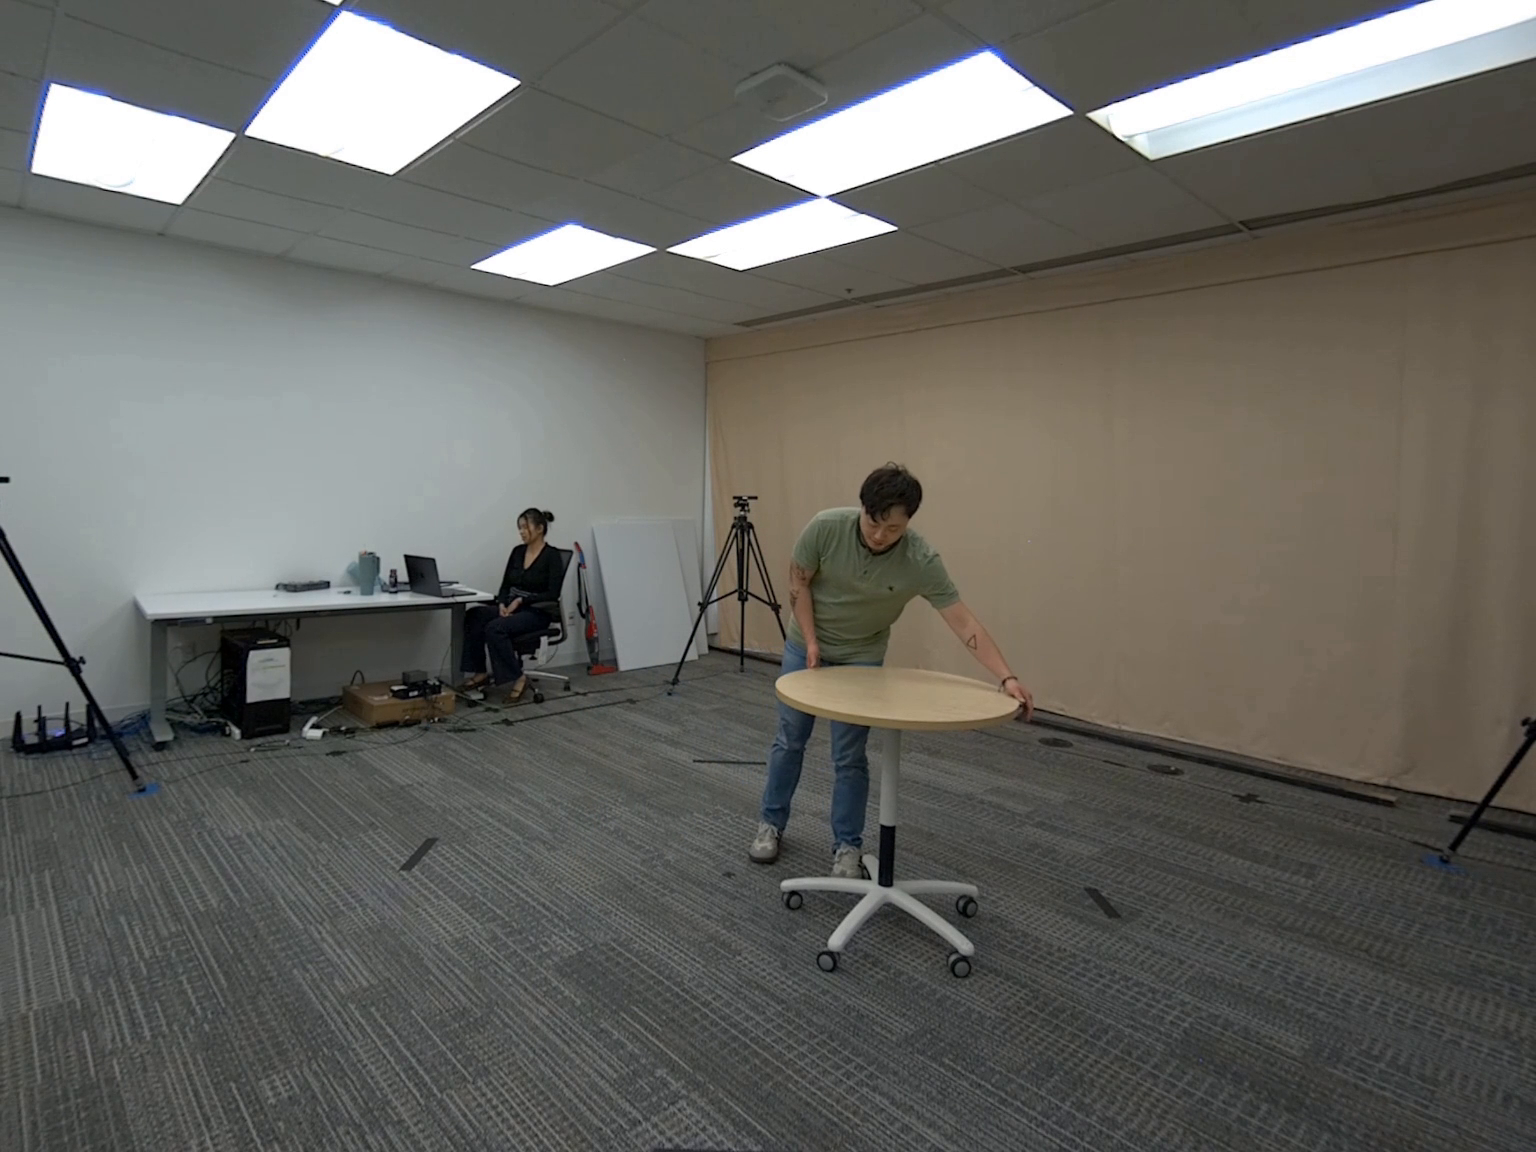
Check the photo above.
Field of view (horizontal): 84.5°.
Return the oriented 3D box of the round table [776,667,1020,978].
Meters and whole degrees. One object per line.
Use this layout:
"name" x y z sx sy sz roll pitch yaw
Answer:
"round table" 0.383 0.762 2.733 0.763 0.791 0.767 2 5 -2
